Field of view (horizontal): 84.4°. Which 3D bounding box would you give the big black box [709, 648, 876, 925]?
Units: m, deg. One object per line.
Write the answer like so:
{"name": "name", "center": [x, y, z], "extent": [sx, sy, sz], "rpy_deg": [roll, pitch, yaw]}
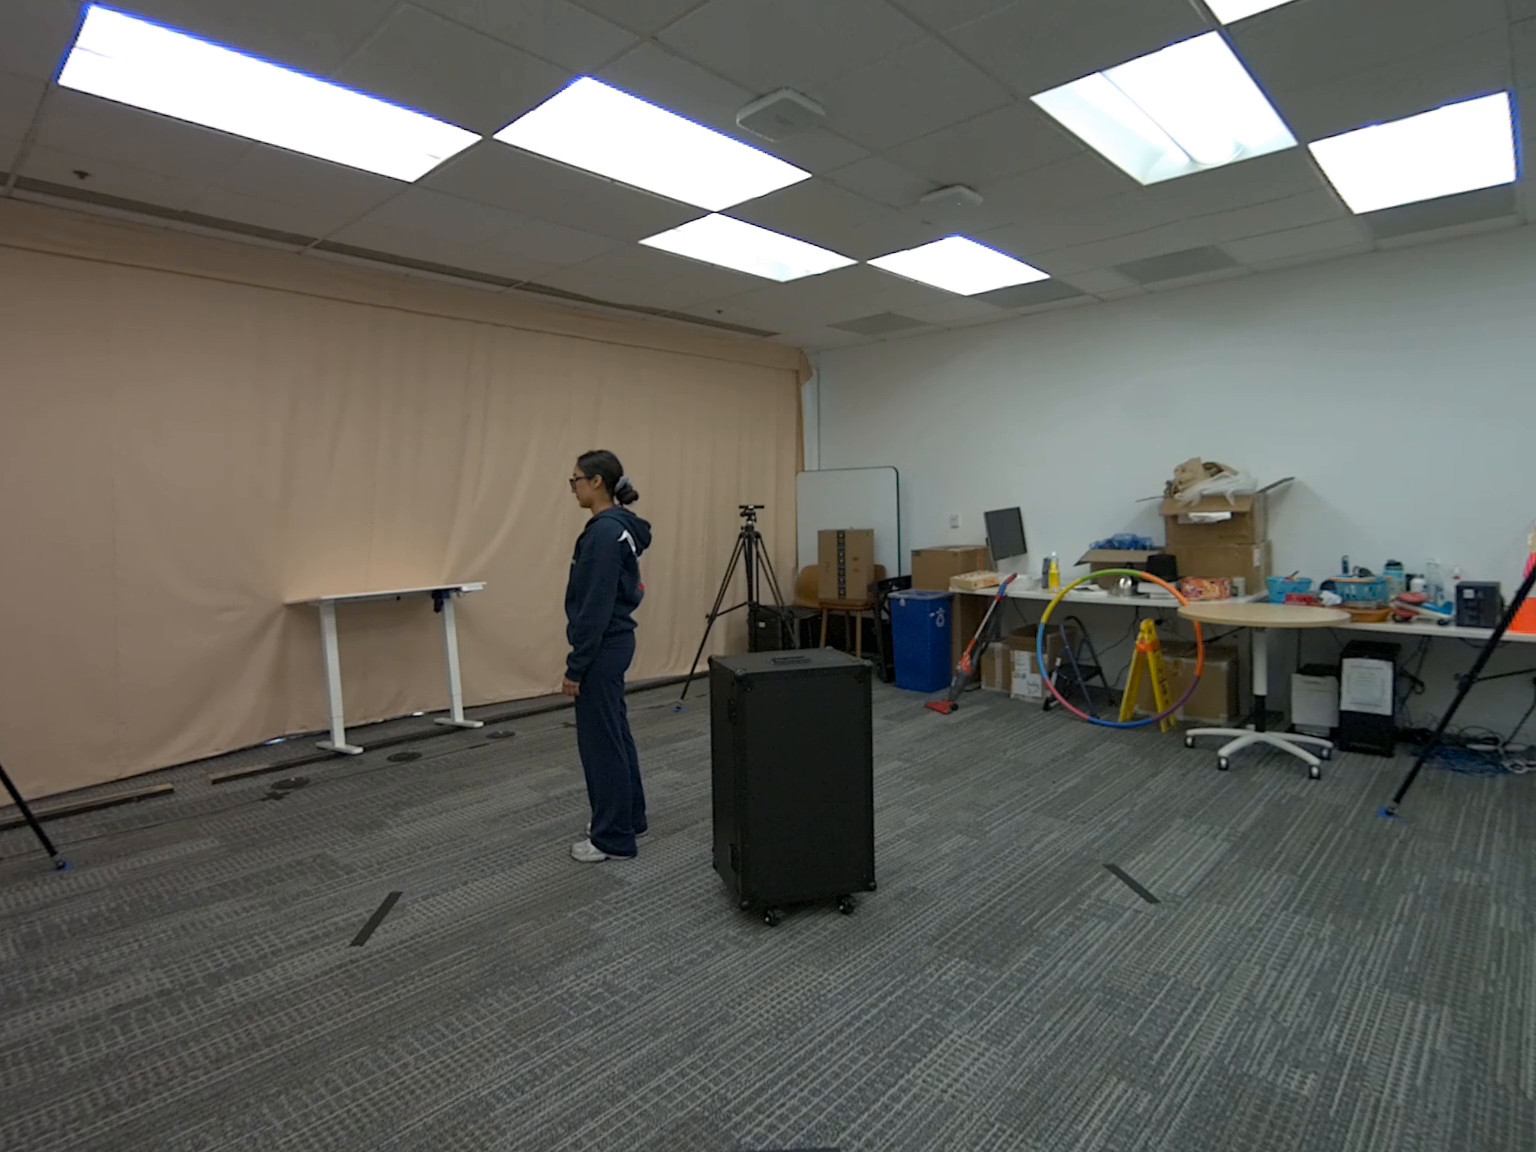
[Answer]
{"name": "big black box", "center": [0.073, 0.717, 2.968], "extent": [0.513, 0.860, 0.403], "rpy_deg": [-3, 2, -16]}
